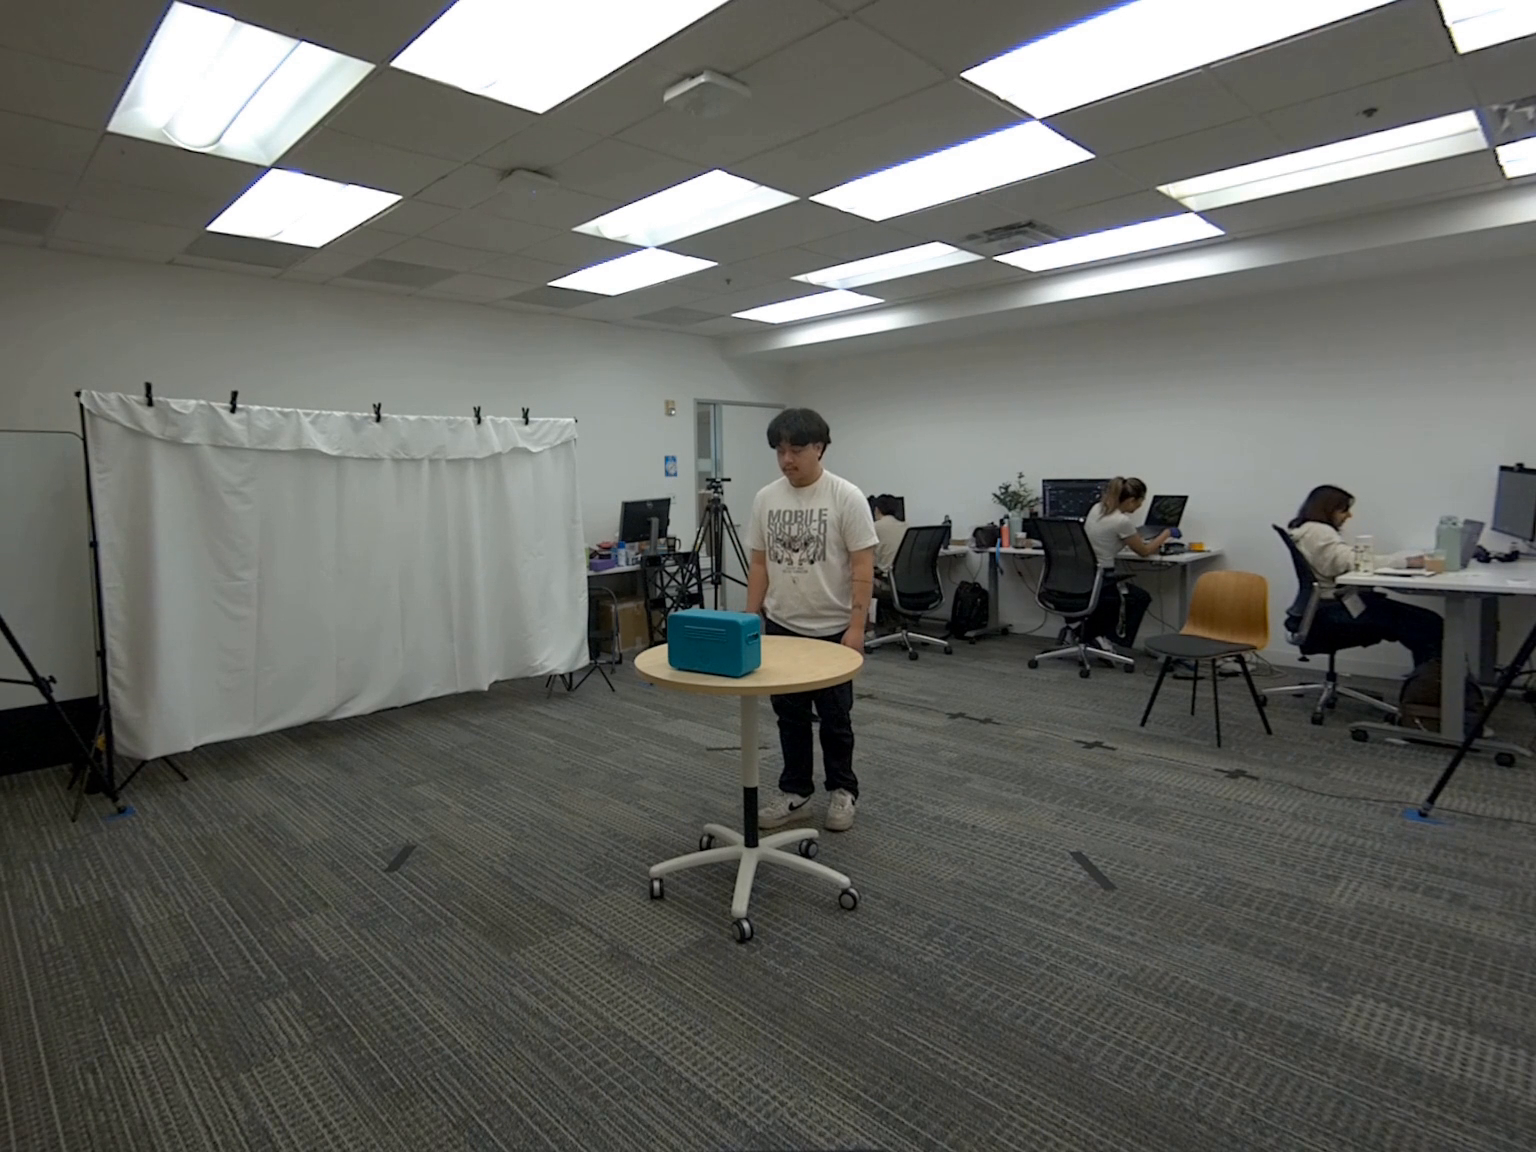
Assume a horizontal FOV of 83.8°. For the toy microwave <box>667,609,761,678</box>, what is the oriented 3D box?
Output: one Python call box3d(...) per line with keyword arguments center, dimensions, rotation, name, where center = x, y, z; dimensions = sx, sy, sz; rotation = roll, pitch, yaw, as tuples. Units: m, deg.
box3d(center=(-0.162, 0.207, 2.707), dimensions=(0.294, 0.183, 0.149), rotation=(3, 6, 32), name="toy microwave")
